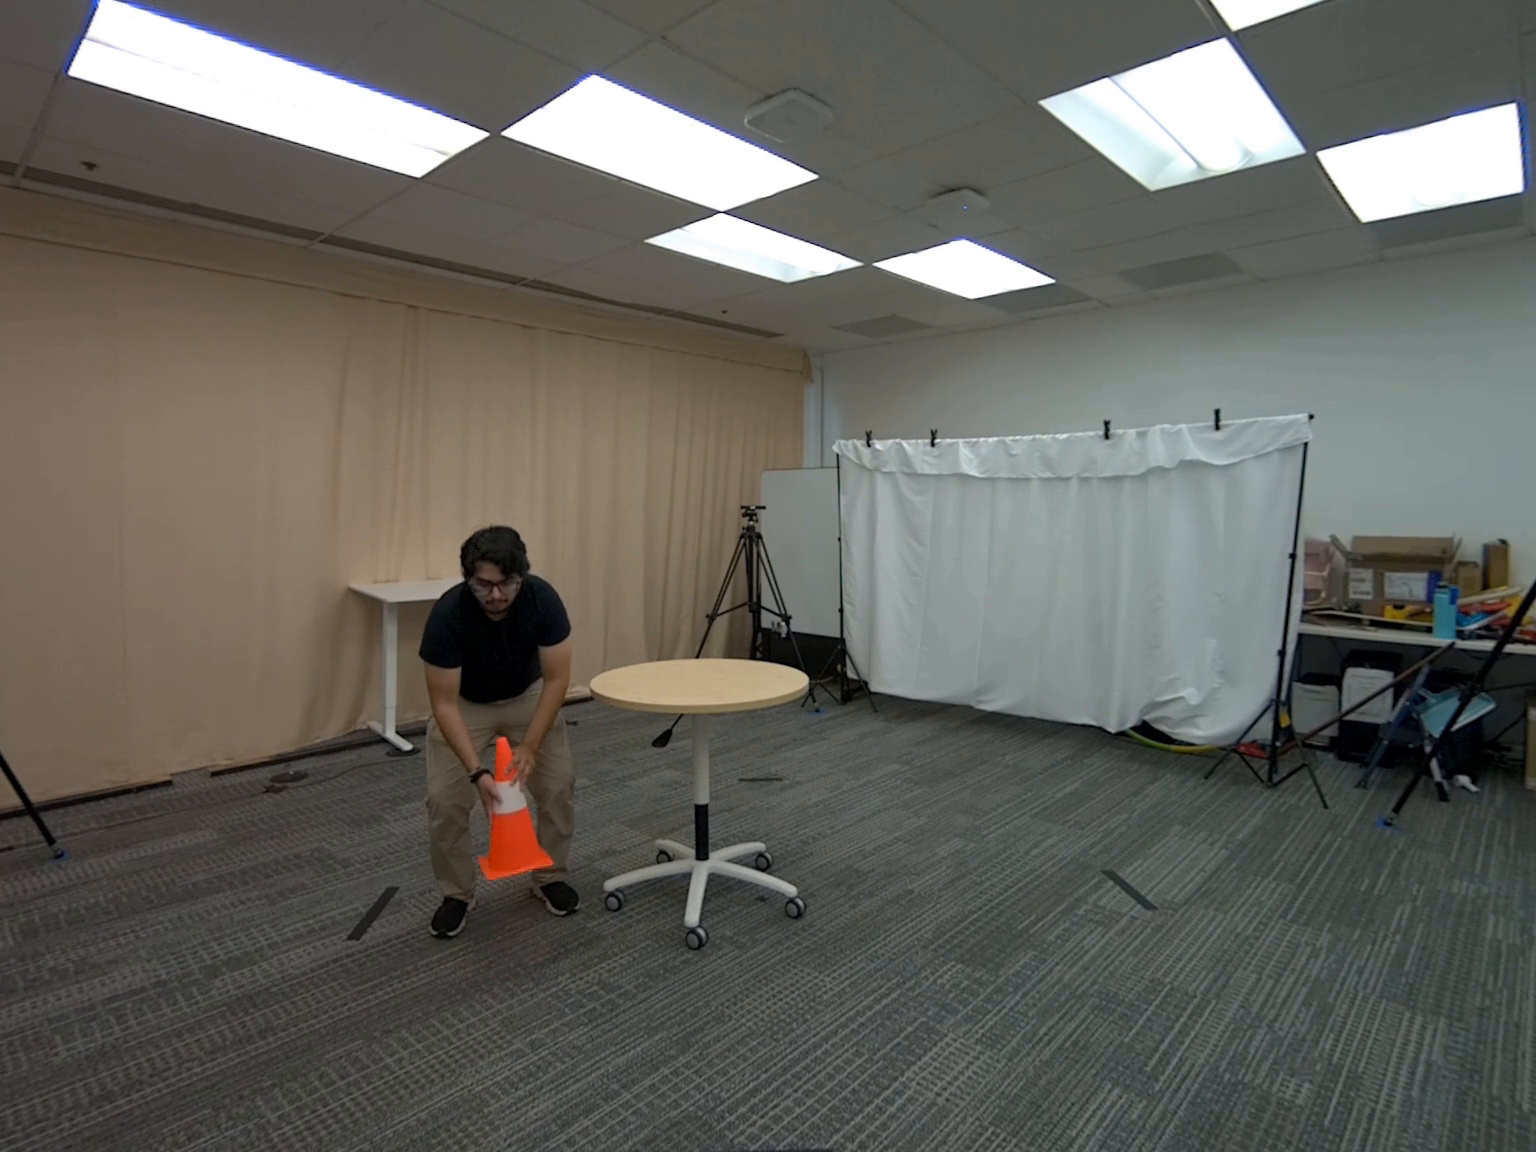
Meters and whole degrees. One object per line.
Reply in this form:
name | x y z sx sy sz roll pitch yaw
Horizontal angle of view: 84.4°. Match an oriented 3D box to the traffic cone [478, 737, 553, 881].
traffic cone | -0.789 0.686 2.563 0.198 0.383 0.211 -6 2 -31
